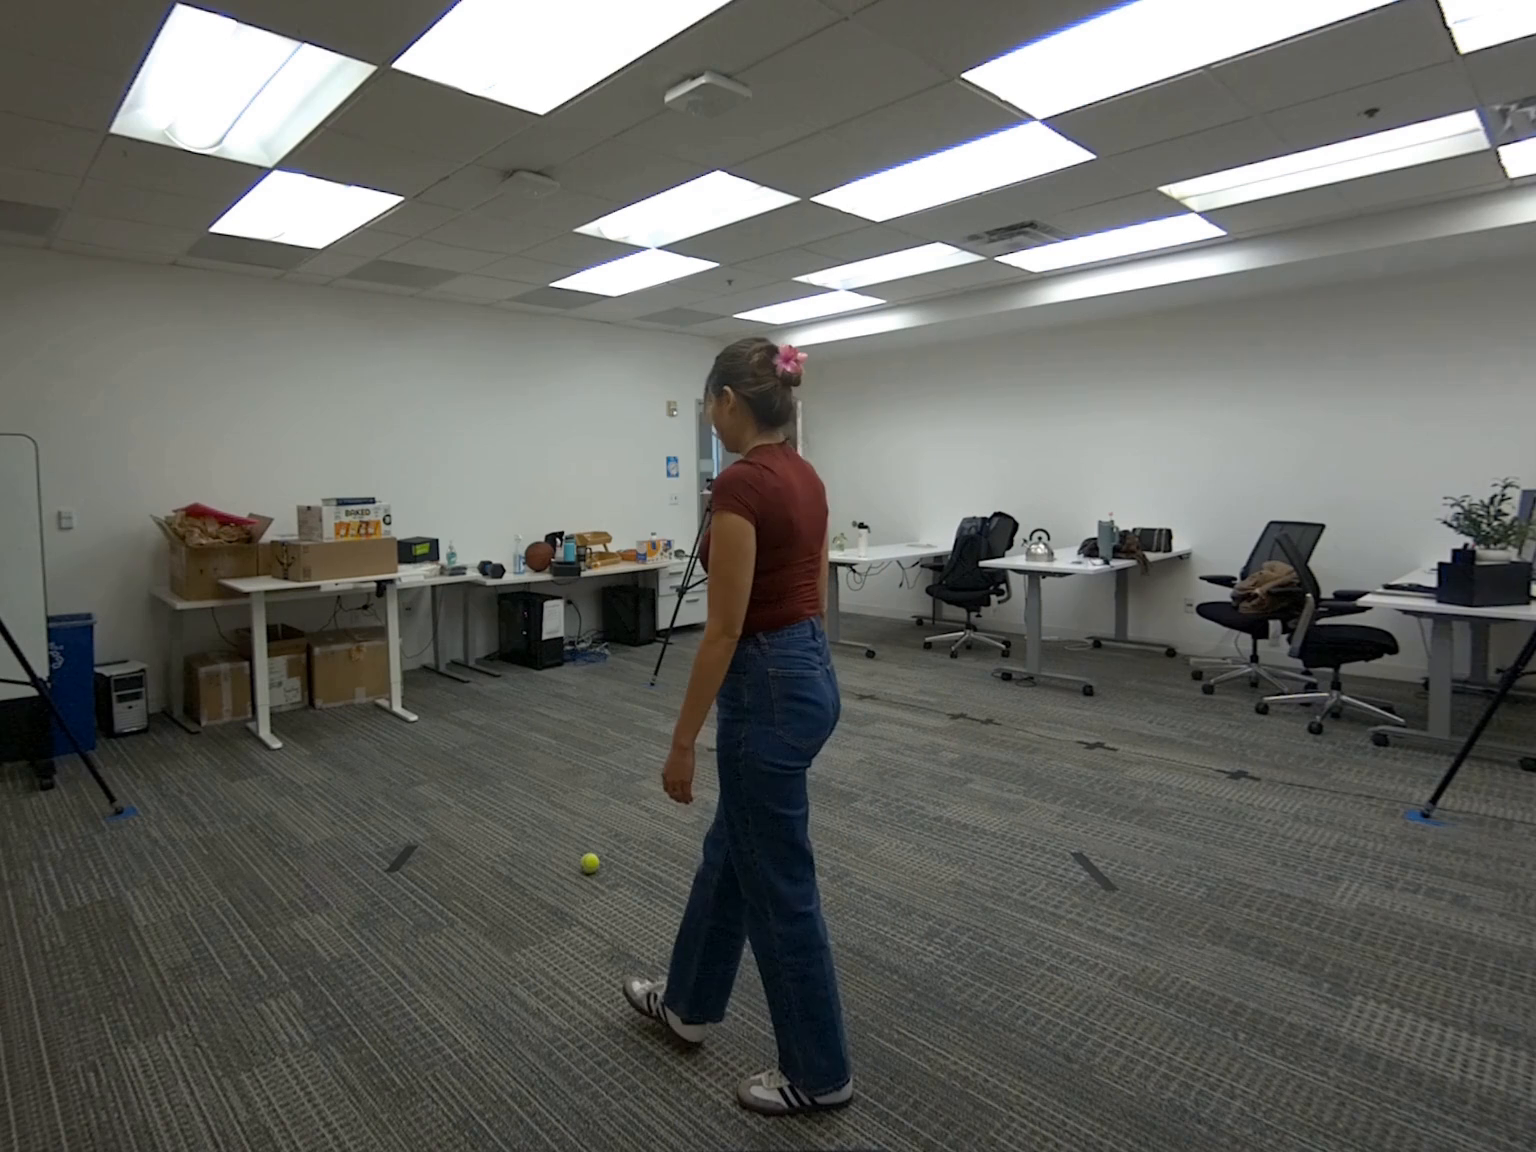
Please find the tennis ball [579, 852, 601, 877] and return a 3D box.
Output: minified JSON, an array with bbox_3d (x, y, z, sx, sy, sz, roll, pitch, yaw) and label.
[{"bbox_3d":[-0.622,1.018,3.045,0.066,0.066,0.067,-1,5,-2],"label":"tennis ball"}]
